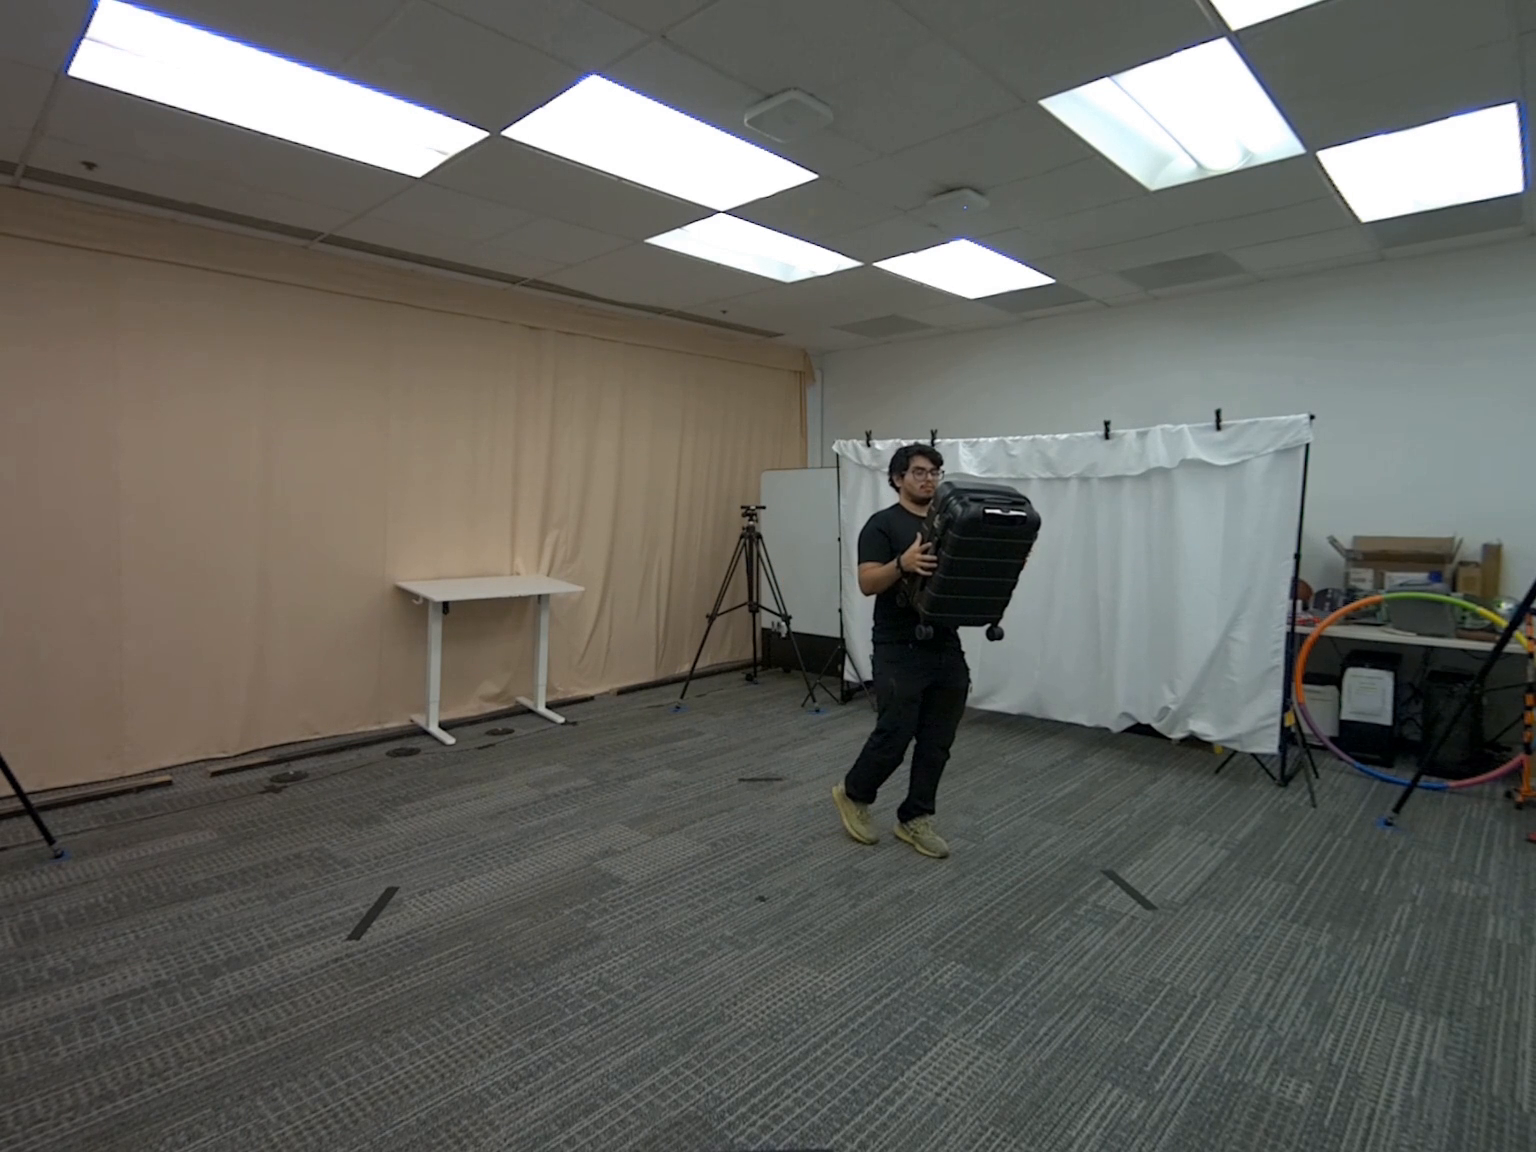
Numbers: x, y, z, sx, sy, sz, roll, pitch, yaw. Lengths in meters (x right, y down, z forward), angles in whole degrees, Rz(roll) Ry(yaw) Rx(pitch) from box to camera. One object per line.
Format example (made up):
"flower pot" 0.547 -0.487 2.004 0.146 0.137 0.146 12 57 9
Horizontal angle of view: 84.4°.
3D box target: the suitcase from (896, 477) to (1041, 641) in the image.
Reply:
"suitcase" 0.728 -0.070 3.066 0.370 0.543 0.255 3 31 -14
